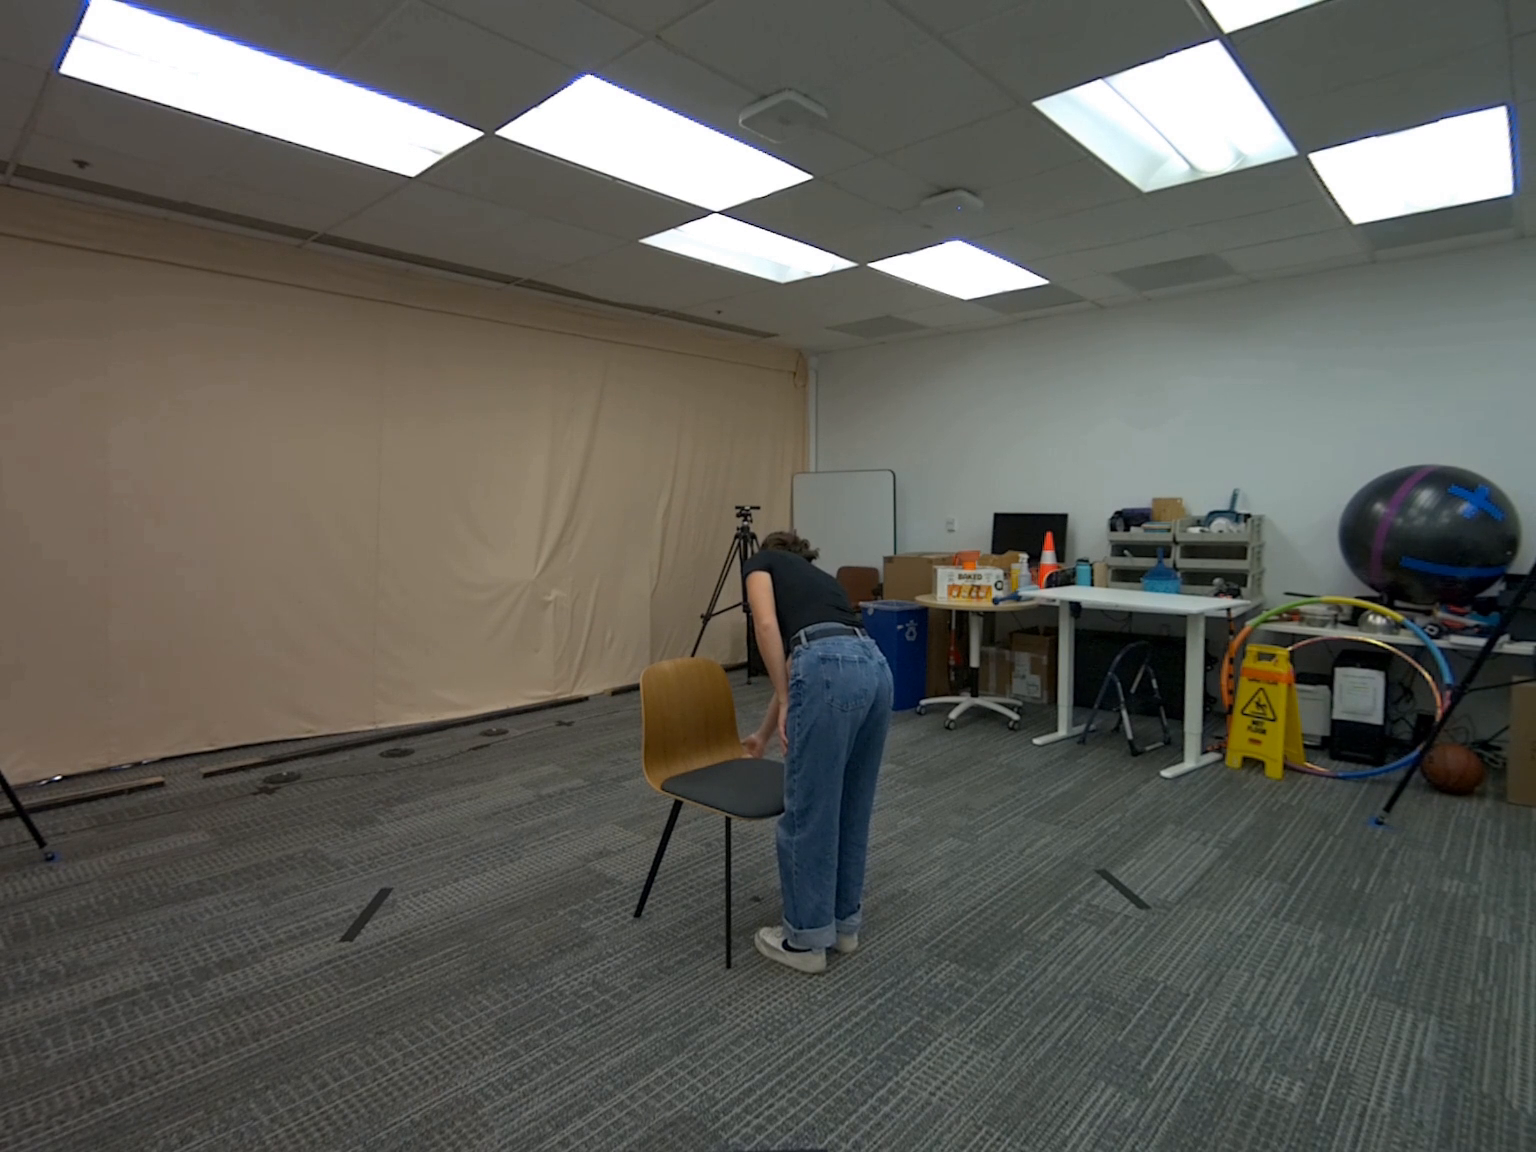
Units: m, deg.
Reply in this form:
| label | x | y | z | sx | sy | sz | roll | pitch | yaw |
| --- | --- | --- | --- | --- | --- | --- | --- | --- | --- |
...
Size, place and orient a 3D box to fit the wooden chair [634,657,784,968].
| label | x | y | z | sx | sy | sz | roll | pitch | yaw |
| --- | --- | --- | --- | --- | --- | --- | --- | --- | --- |
| wooden chair | -0.131 | 0.734 | 2.815 | 0.539 | 0.877 | 0.463 | -3 | 0 | 44 |
